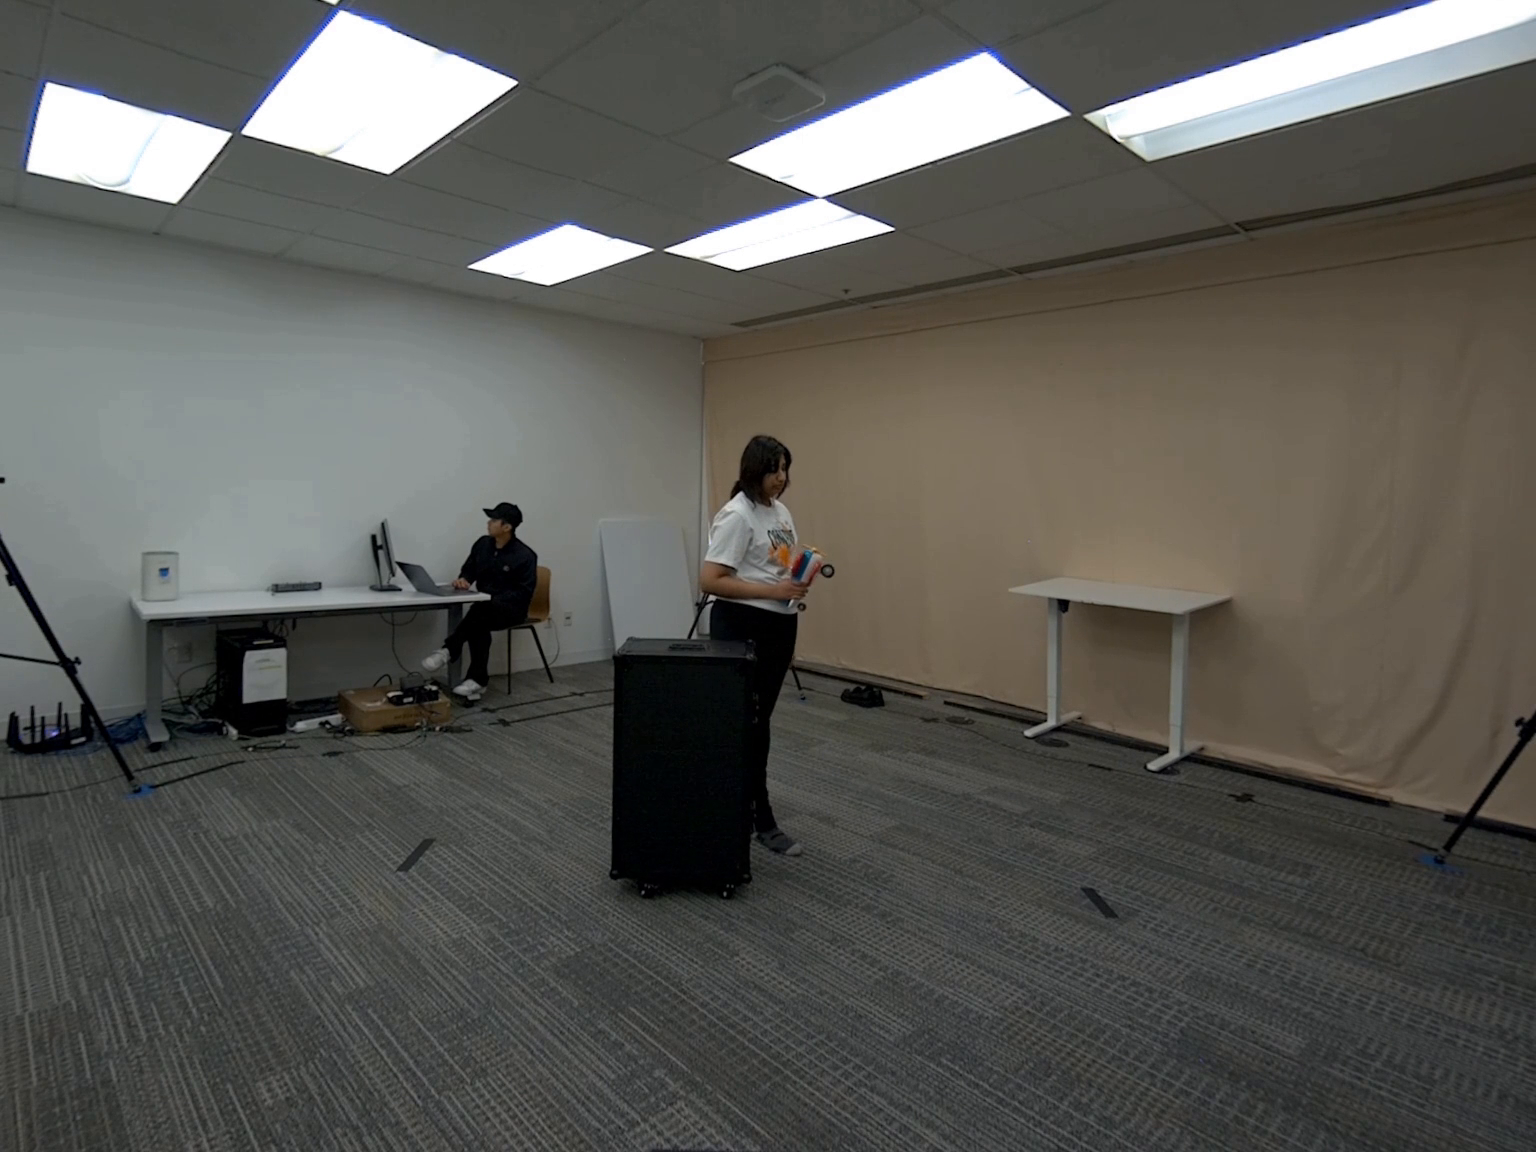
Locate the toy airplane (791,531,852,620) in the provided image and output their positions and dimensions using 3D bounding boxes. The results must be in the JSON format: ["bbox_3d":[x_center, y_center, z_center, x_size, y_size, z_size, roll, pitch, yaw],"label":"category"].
[{"bbox_3d":[0.149,0.012,3.321,0.157,0.259,0.250,40,-29,3],"label":"toy airplane"}]
